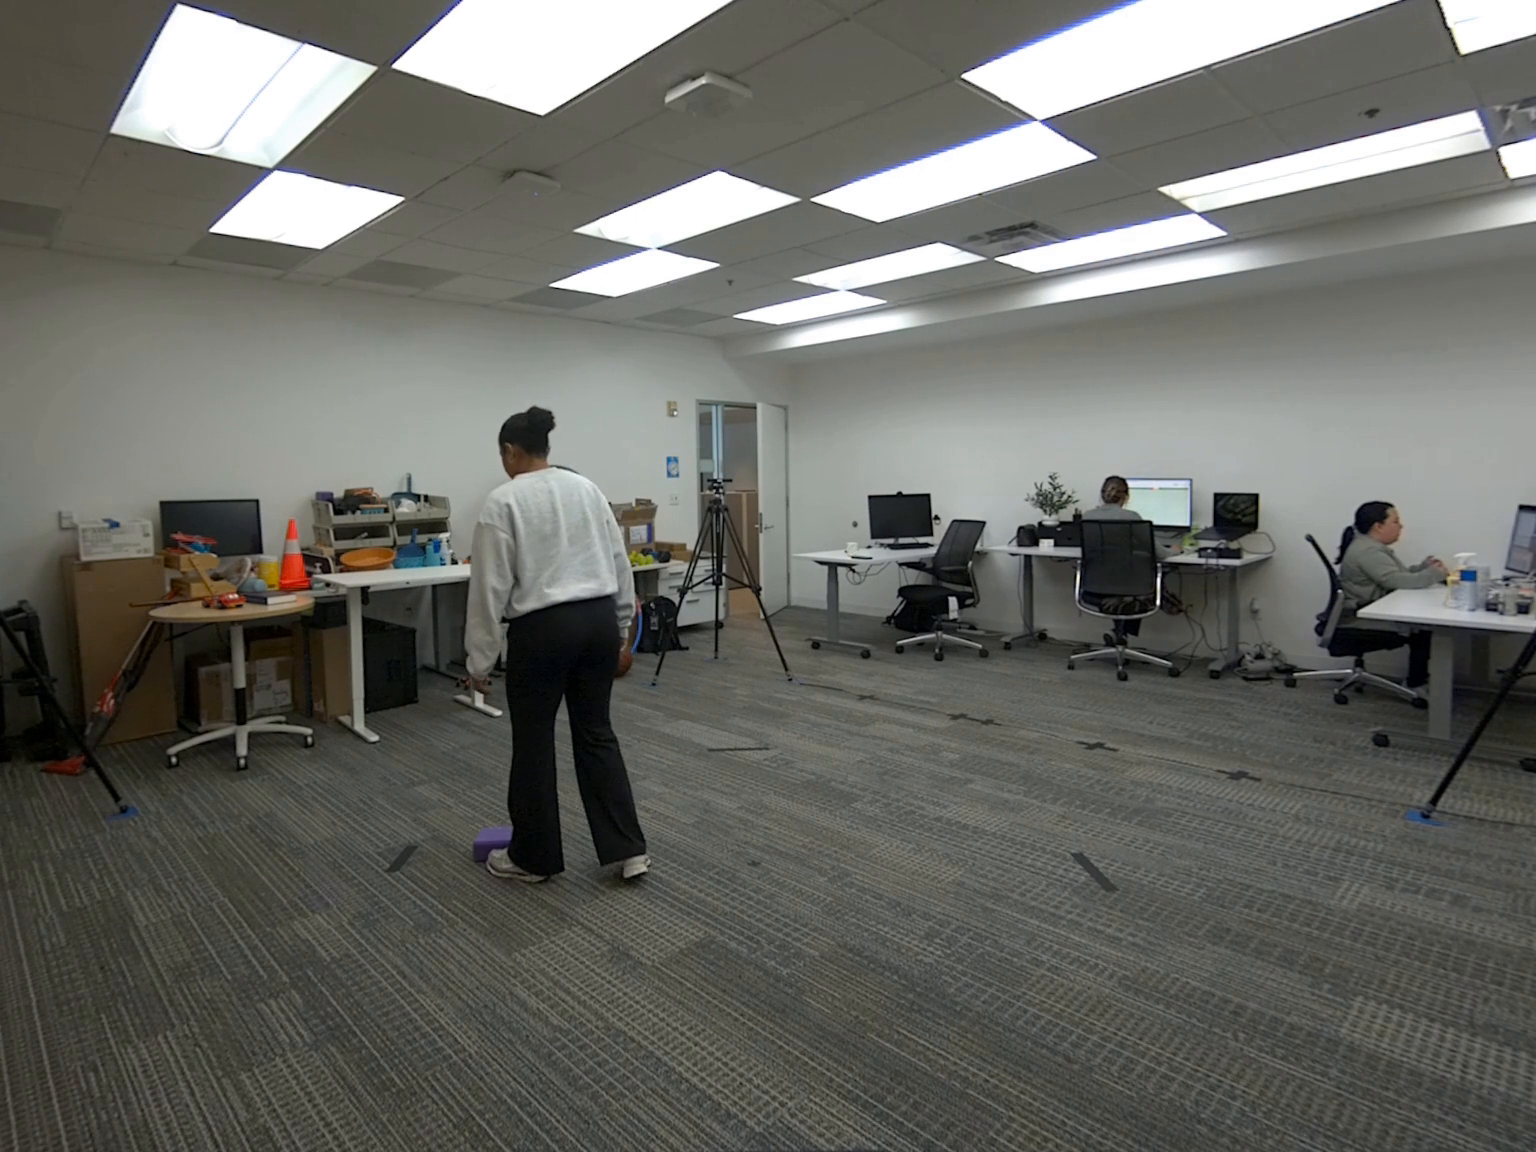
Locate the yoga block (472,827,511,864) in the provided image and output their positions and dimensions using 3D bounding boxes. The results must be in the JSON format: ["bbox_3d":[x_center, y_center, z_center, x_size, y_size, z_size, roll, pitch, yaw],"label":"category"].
[{"bbox_3d":[-0.981,1.009,3.236,0.229,0.076,0.150,-2,6,-3],"label":"yoga block"}]
